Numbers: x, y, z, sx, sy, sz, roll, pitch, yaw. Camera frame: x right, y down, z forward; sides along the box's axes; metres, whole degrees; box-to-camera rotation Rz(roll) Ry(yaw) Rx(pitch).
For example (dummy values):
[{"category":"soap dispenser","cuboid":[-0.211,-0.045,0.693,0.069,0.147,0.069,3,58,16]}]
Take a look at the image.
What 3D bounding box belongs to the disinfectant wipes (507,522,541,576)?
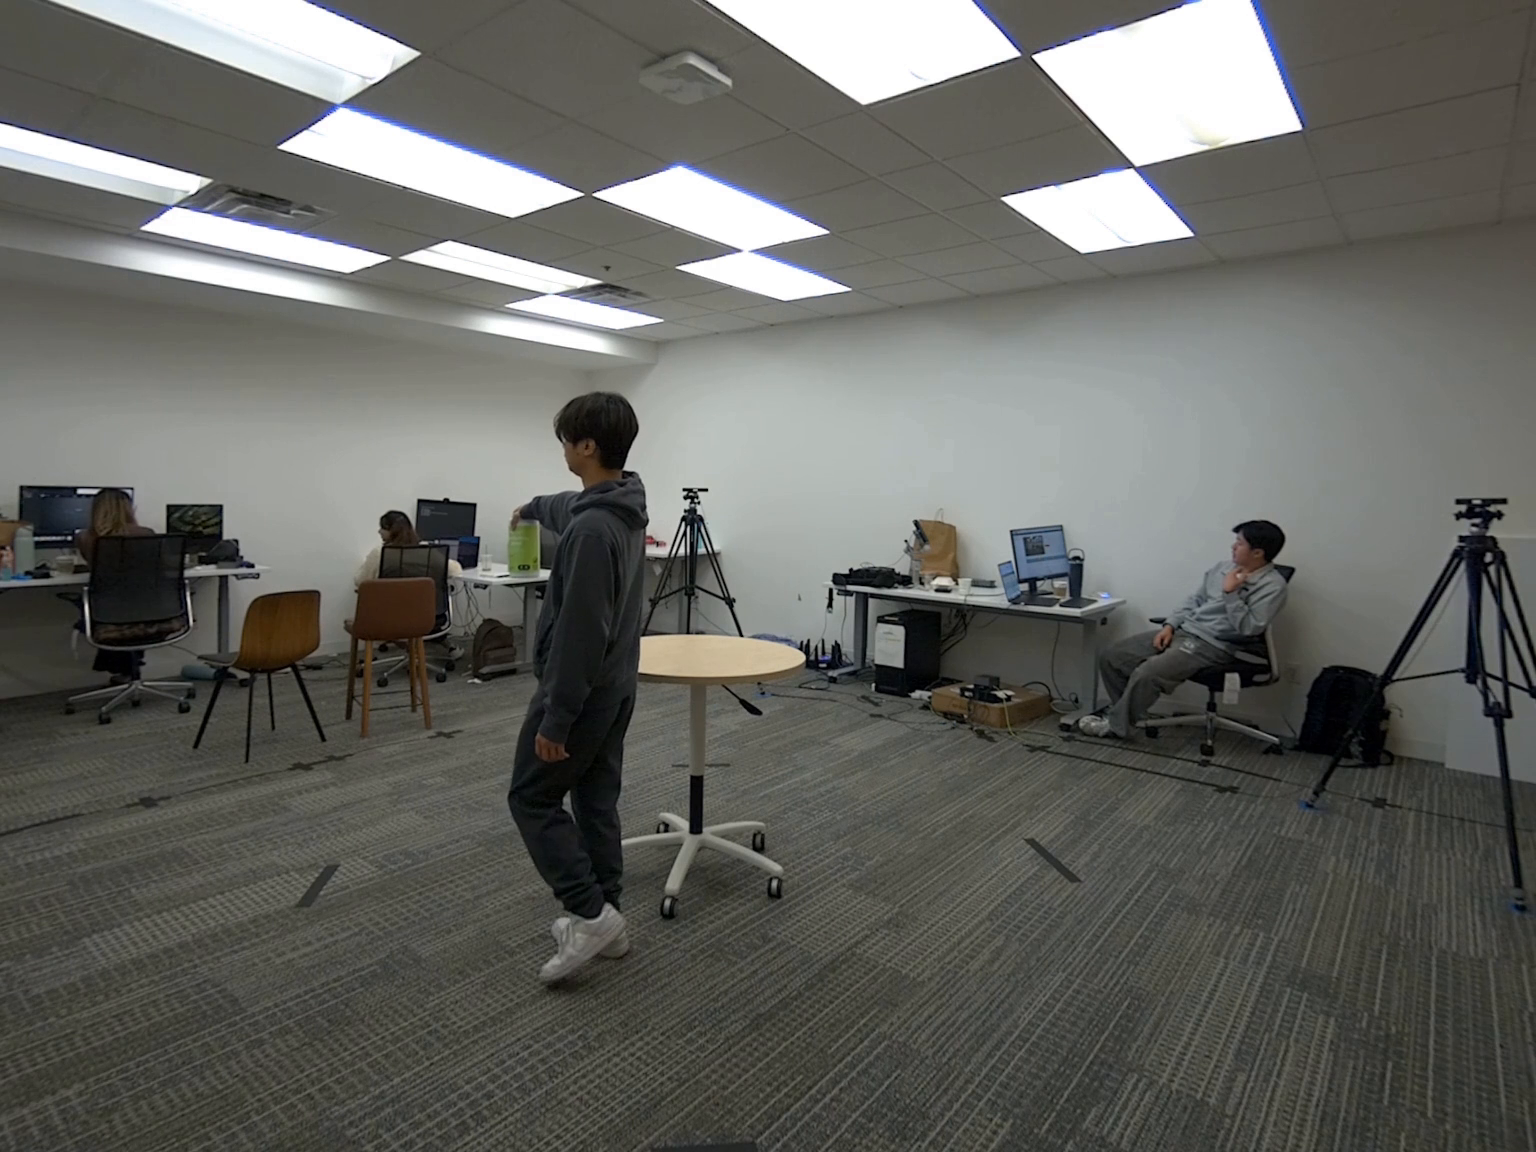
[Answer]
[{"category":"disinfectant wipes","cuboid":[-0.897,-0.104,3.080,0.118,0.217,0.118,-1,1,-2]}]
